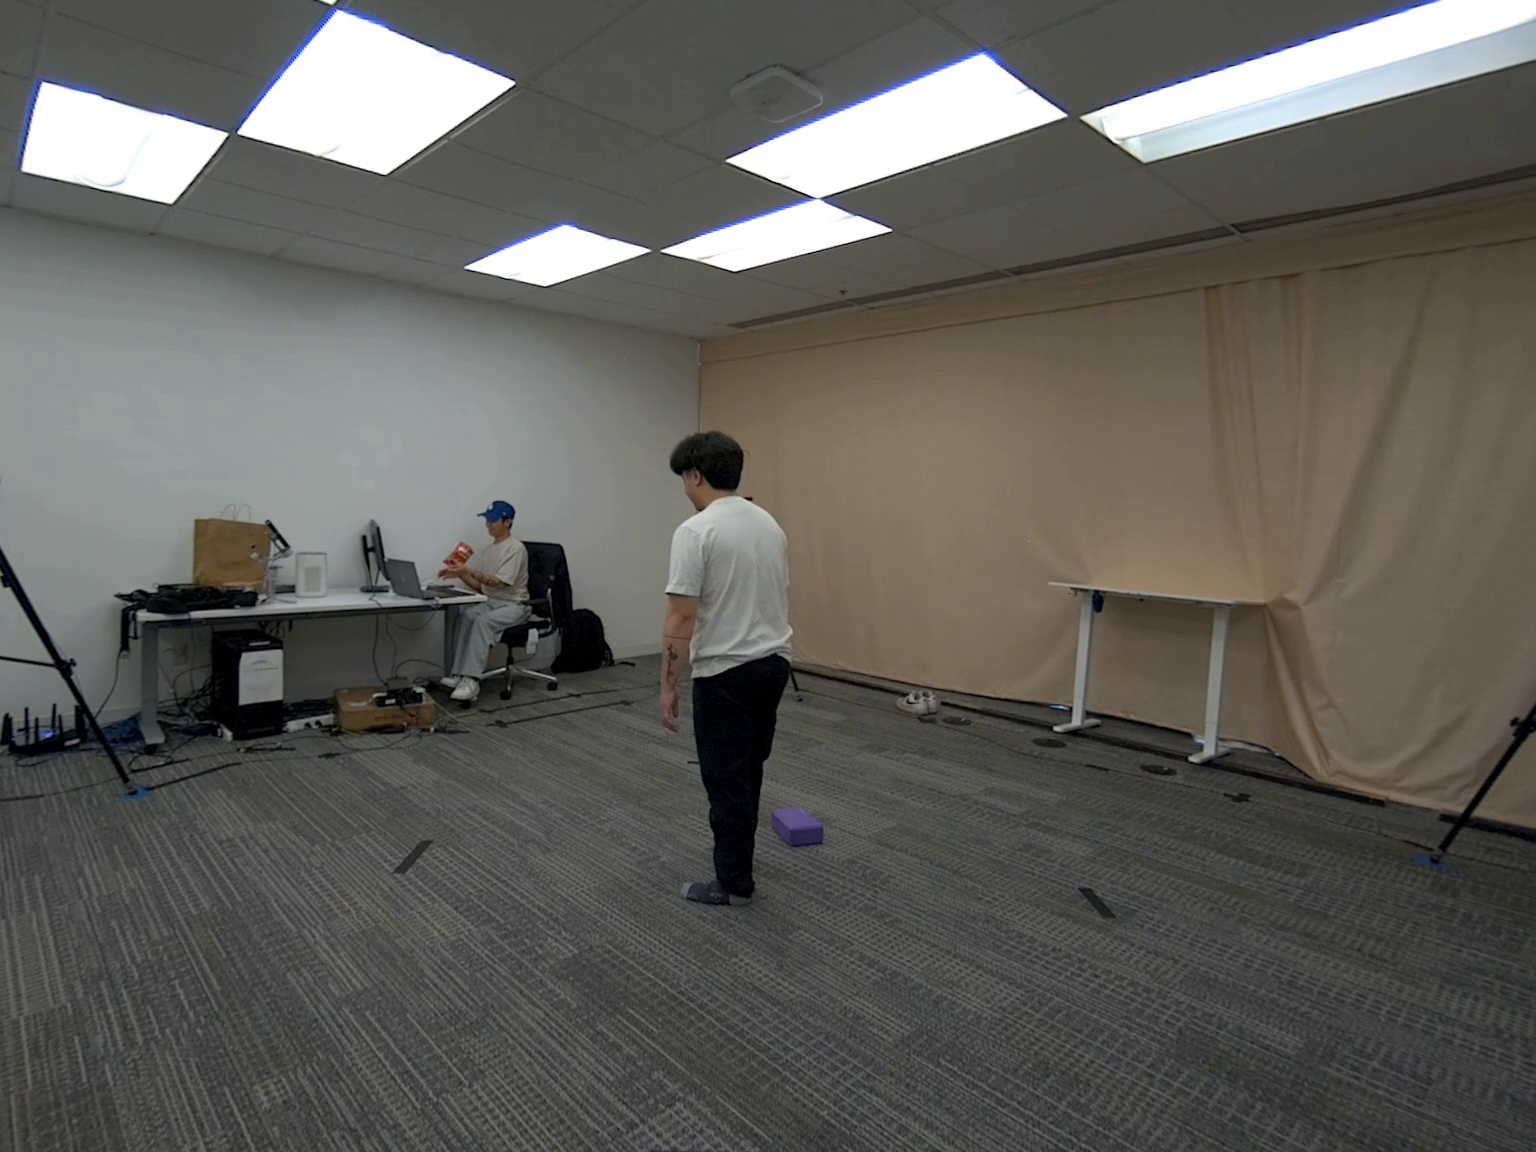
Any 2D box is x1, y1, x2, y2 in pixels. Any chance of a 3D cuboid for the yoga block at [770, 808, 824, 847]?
[{"bbox_3d":[0.111,1.038,3.503,0.147,0.076,0.233,-1,4,-18],"label":"yoga block"}]
